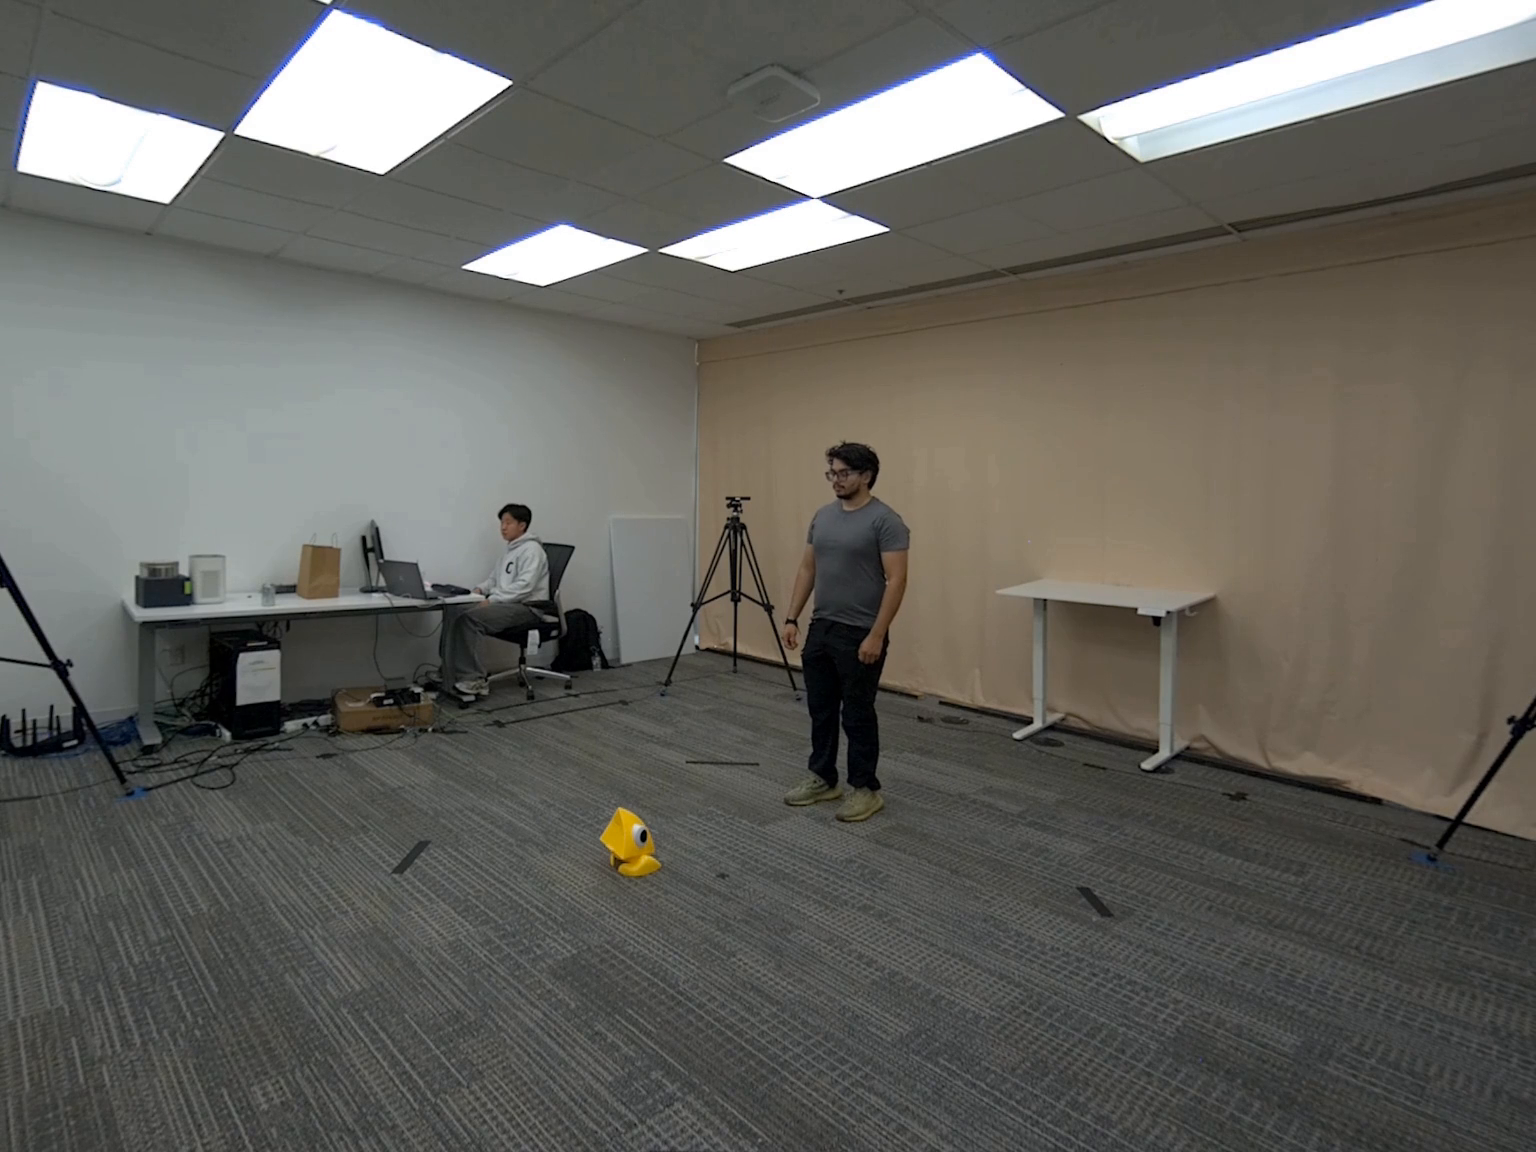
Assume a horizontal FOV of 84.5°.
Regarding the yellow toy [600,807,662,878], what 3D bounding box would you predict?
[{"bbox_3d":[-0.519,0.981,3.175,0.189,0.230,0.210,0,4,-34],"label":"yellow toy"}]
